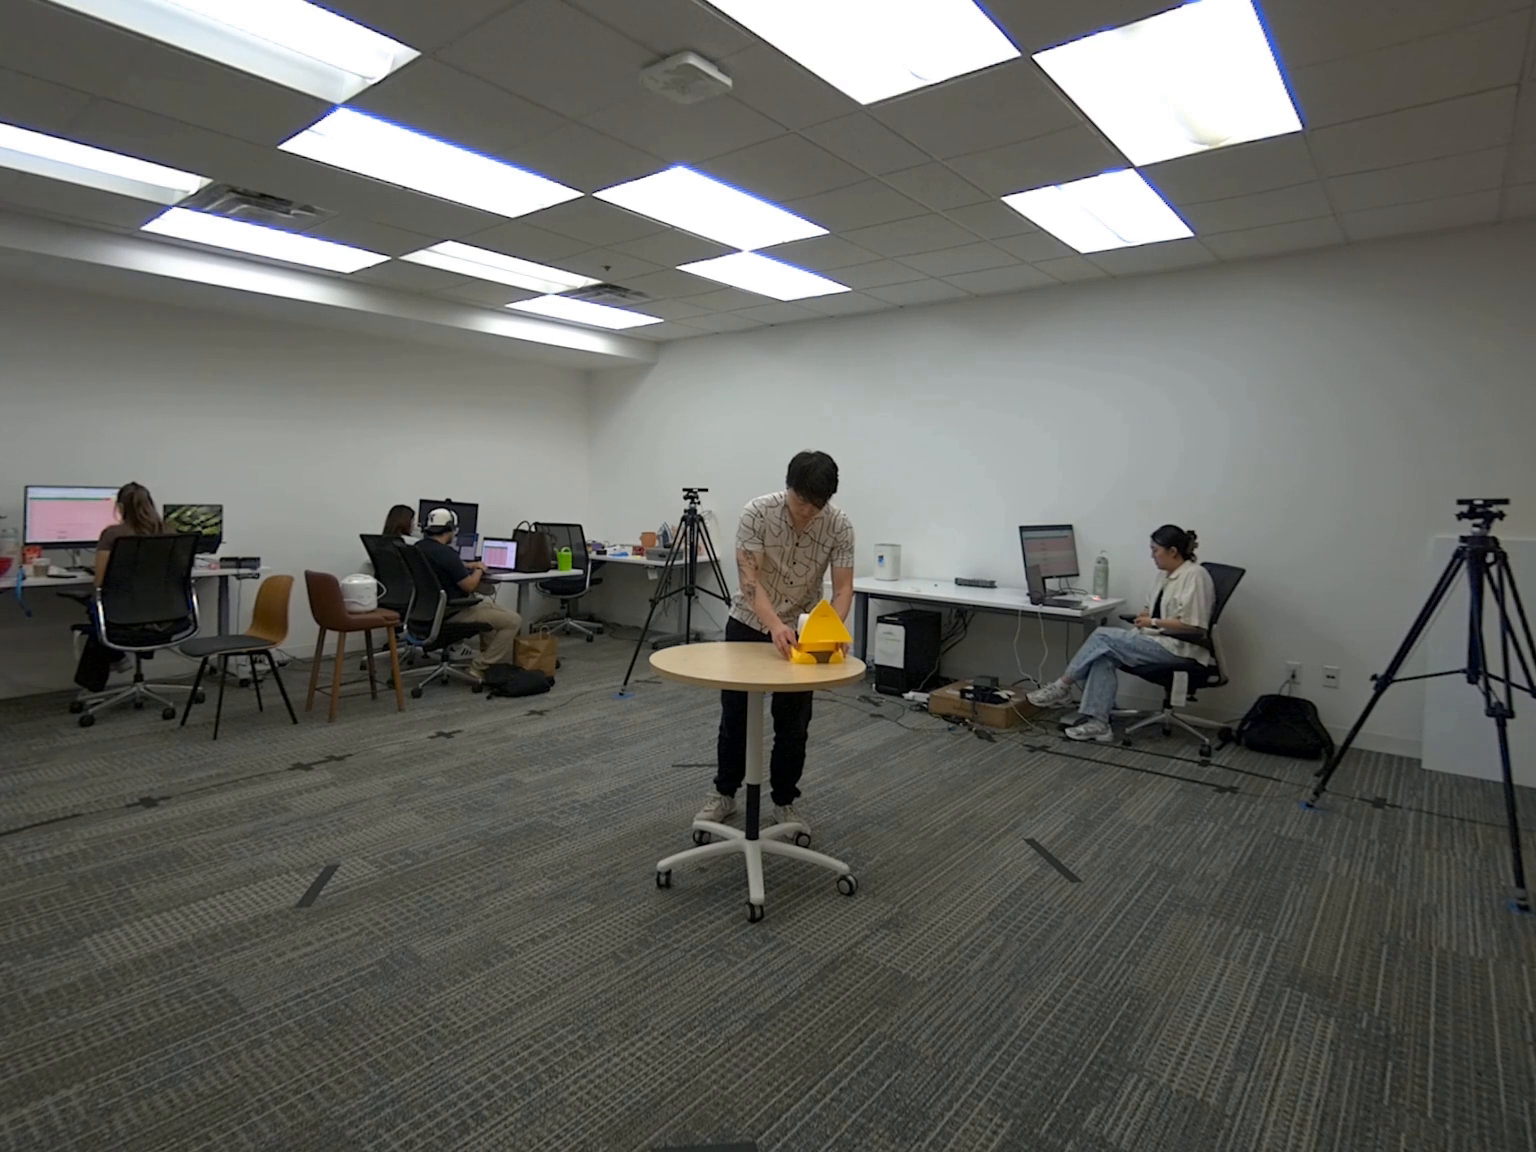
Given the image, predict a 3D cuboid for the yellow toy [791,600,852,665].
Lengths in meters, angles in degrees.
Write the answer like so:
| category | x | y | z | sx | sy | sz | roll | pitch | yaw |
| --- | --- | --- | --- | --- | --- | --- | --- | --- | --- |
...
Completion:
| category | x | y | z | sx | sy | sz | roll | pitch | yaw |
| --- | --- | --- | --- | --- | --- | --- | --- | --- | --- |
| yellow toy | 0.164 | 0.184 | 3.072 | 0.201 | 0.230 | 0.197 | 0 | 3 | -18 |
